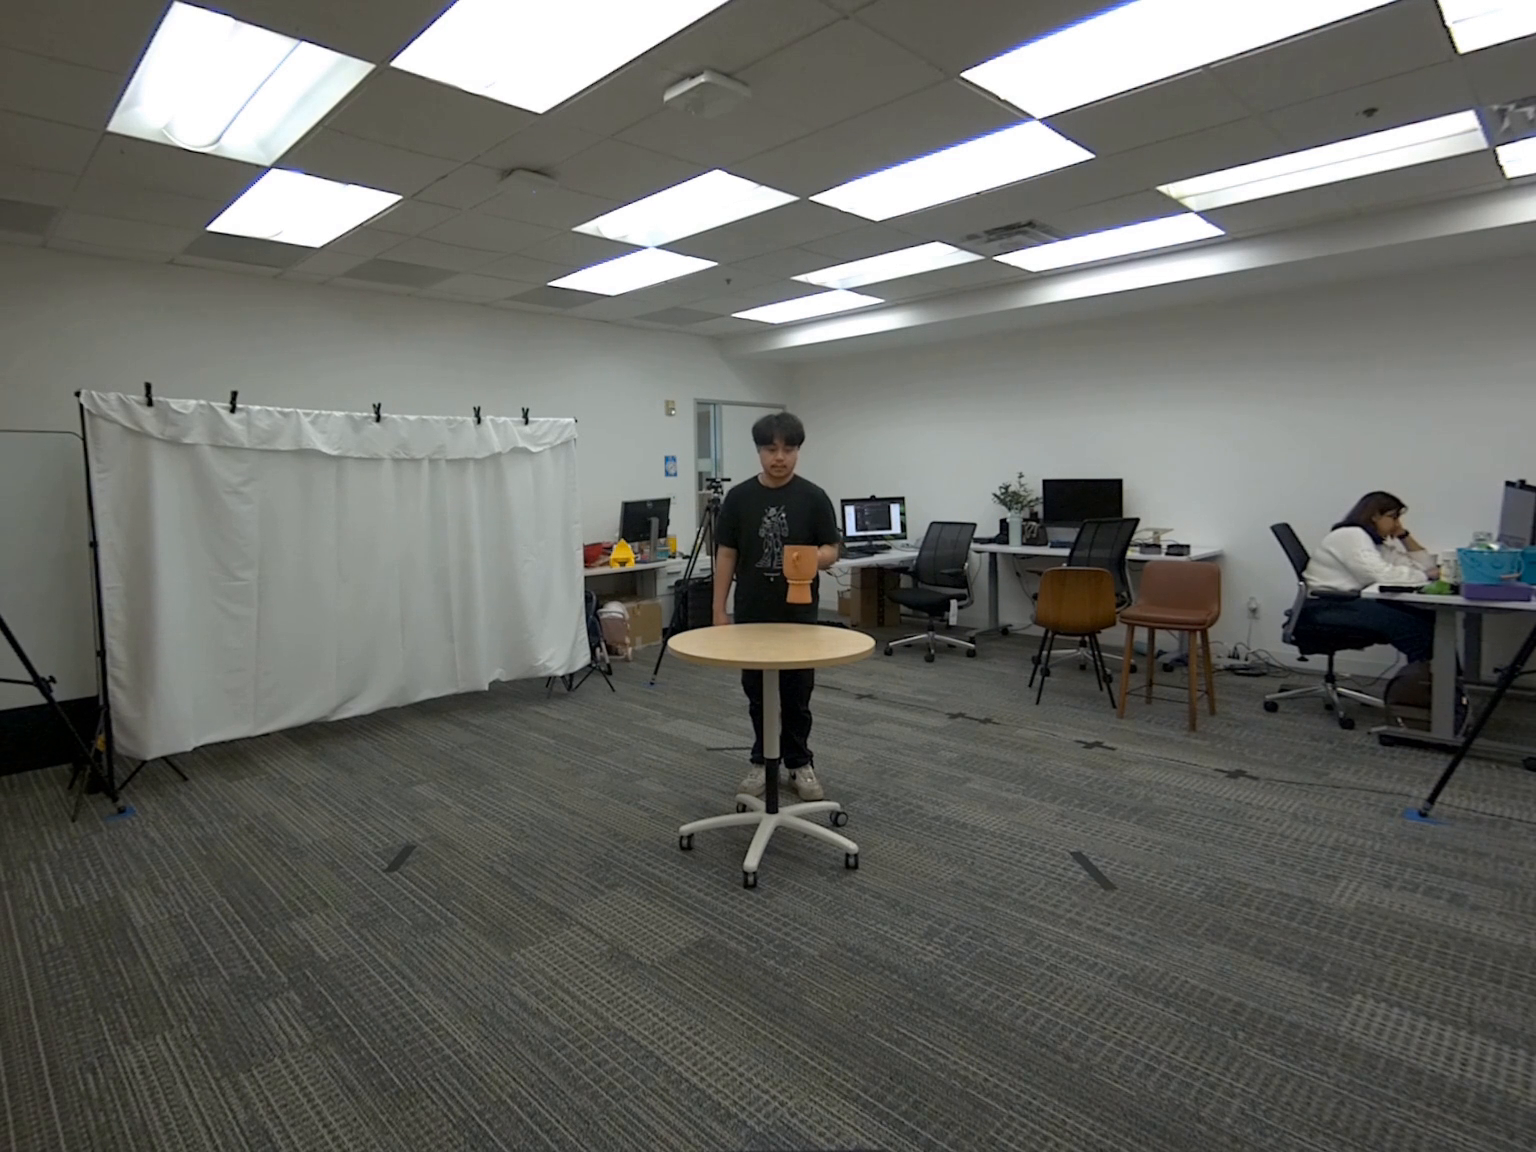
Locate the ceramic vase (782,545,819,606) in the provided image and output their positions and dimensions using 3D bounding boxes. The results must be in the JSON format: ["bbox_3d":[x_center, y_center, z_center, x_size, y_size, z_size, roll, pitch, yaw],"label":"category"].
[{"bbox_3d":[0.125,-0.006,3.364,0.155,0.219,0.138,-1,2,-31],"label":"ceramic vase"}]
